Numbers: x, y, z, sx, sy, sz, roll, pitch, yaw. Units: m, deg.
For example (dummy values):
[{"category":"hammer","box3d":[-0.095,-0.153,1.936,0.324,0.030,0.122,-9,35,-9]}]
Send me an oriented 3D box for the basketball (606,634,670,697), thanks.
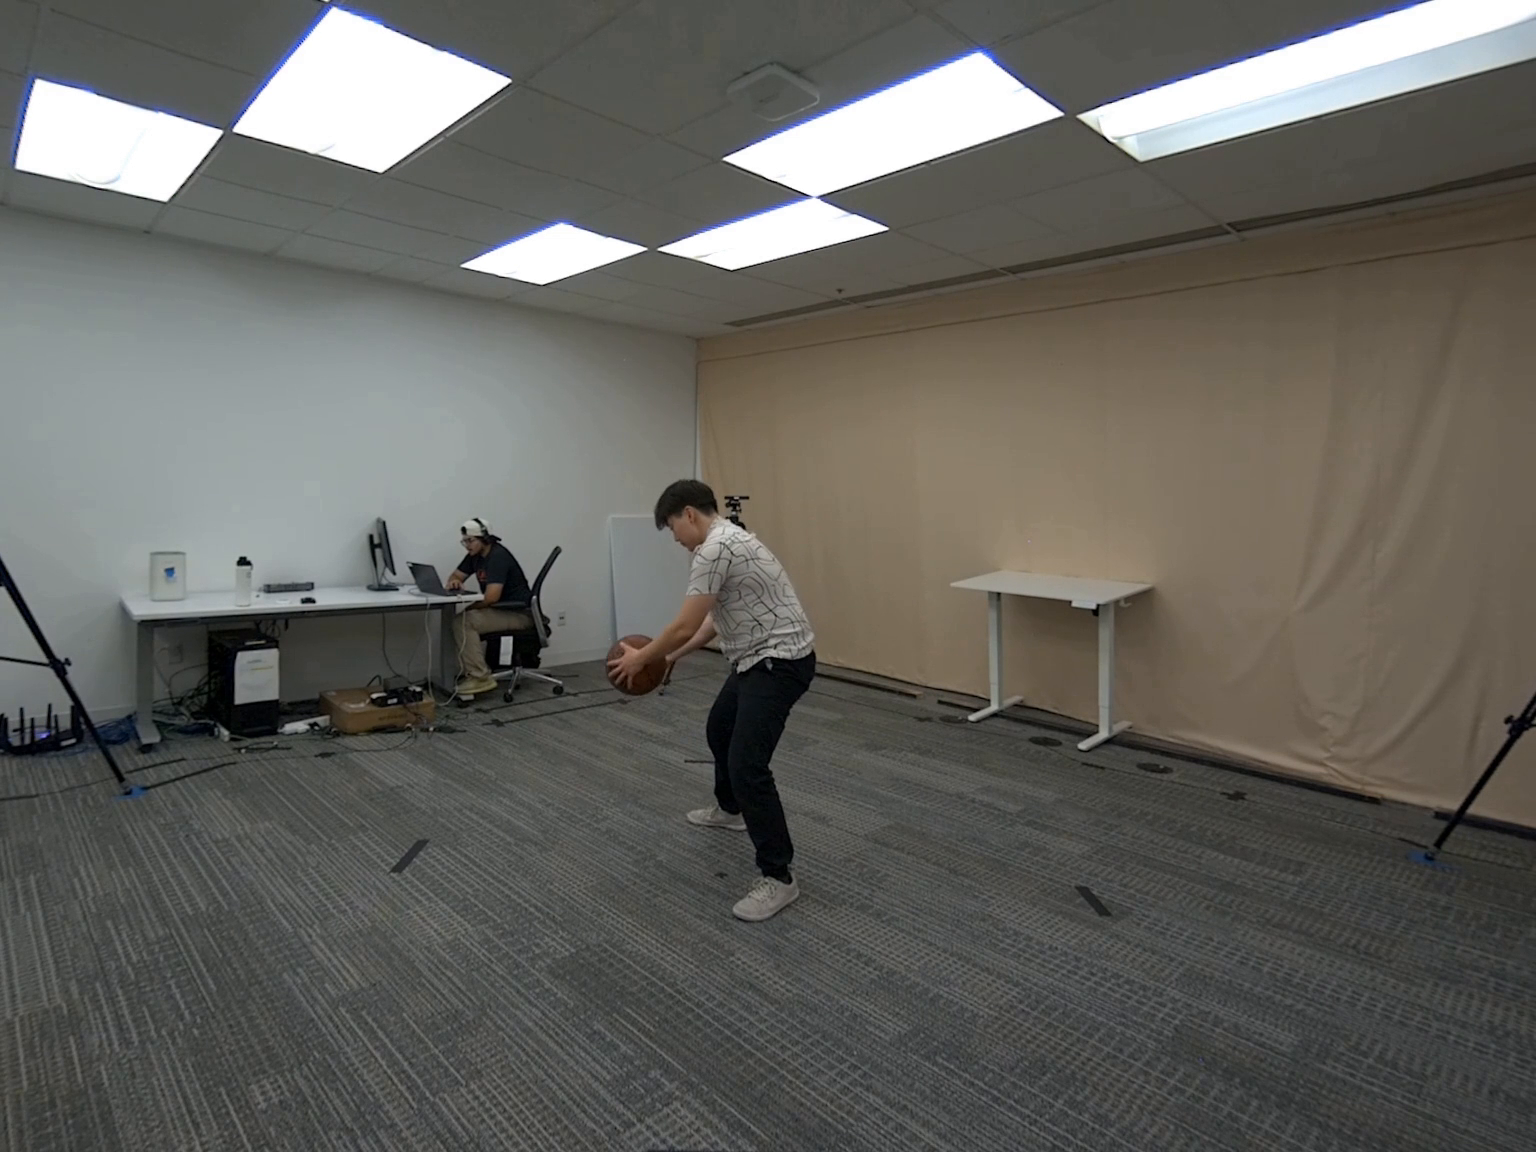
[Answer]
[{"category":"basketball","box3d":[-0.516,0.342,3.296,0.236,0.235,0.237,1,4,-1]}]
